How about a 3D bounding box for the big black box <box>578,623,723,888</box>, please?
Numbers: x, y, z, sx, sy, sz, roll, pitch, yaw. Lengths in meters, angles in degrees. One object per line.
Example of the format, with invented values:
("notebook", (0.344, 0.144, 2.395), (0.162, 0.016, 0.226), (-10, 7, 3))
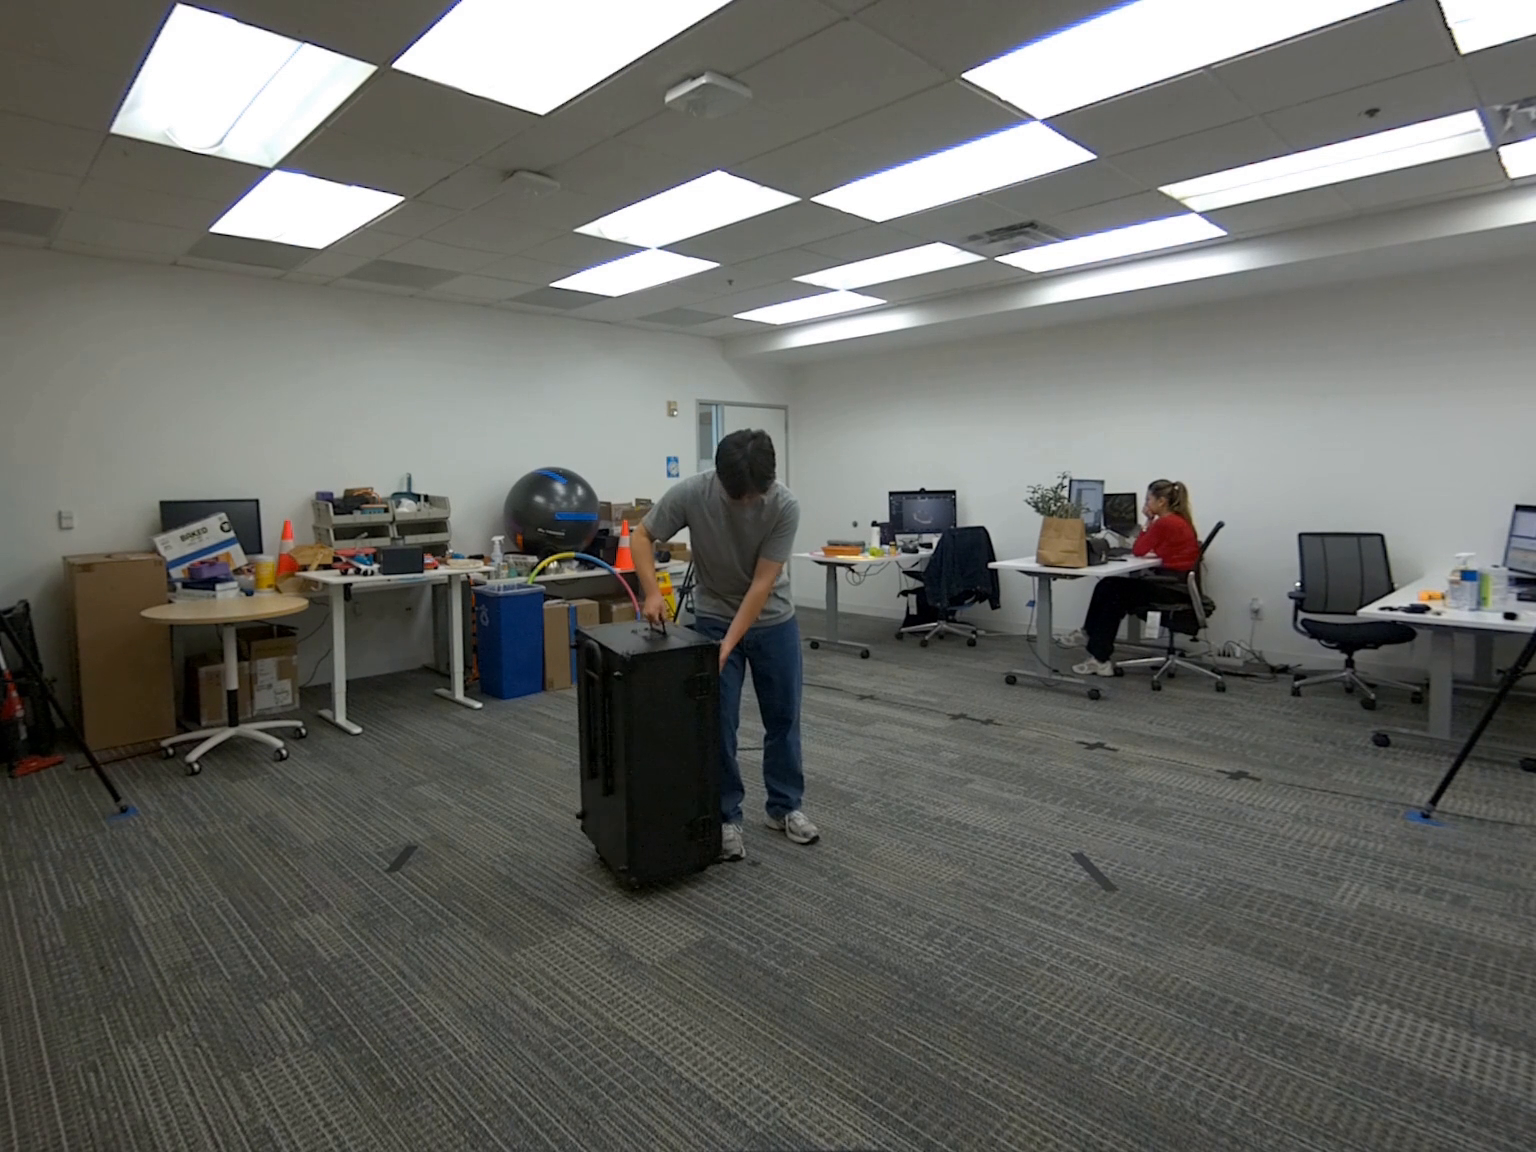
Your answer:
("big black box", (-0.441, 0.566, 3.037), (0.387, 0.856, 0.536), (-4, 8, -29))
